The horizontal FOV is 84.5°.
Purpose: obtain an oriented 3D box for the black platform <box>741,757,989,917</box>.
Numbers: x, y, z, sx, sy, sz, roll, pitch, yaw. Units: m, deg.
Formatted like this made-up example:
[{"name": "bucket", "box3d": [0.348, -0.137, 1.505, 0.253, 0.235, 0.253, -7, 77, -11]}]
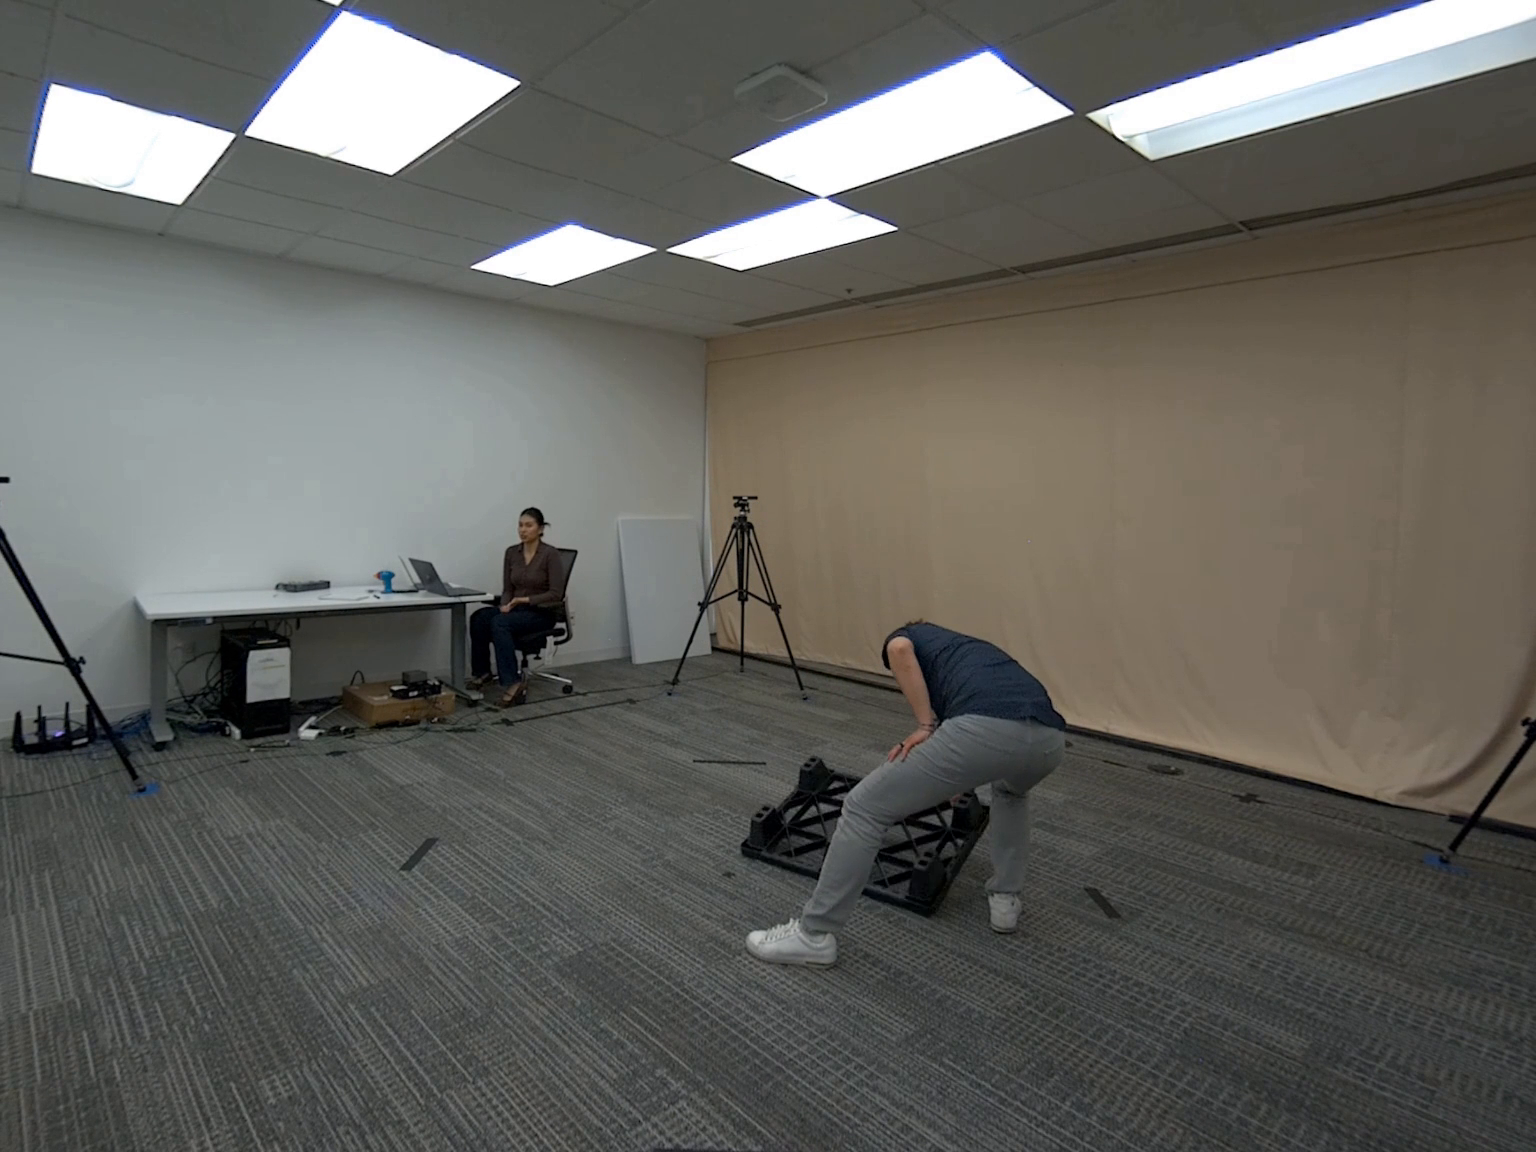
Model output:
[{"name": "black platform", "box3d": [0.367, 0.942, 3.248, 0.825, 0.141, 0.600, 5, 25, 35]}]
